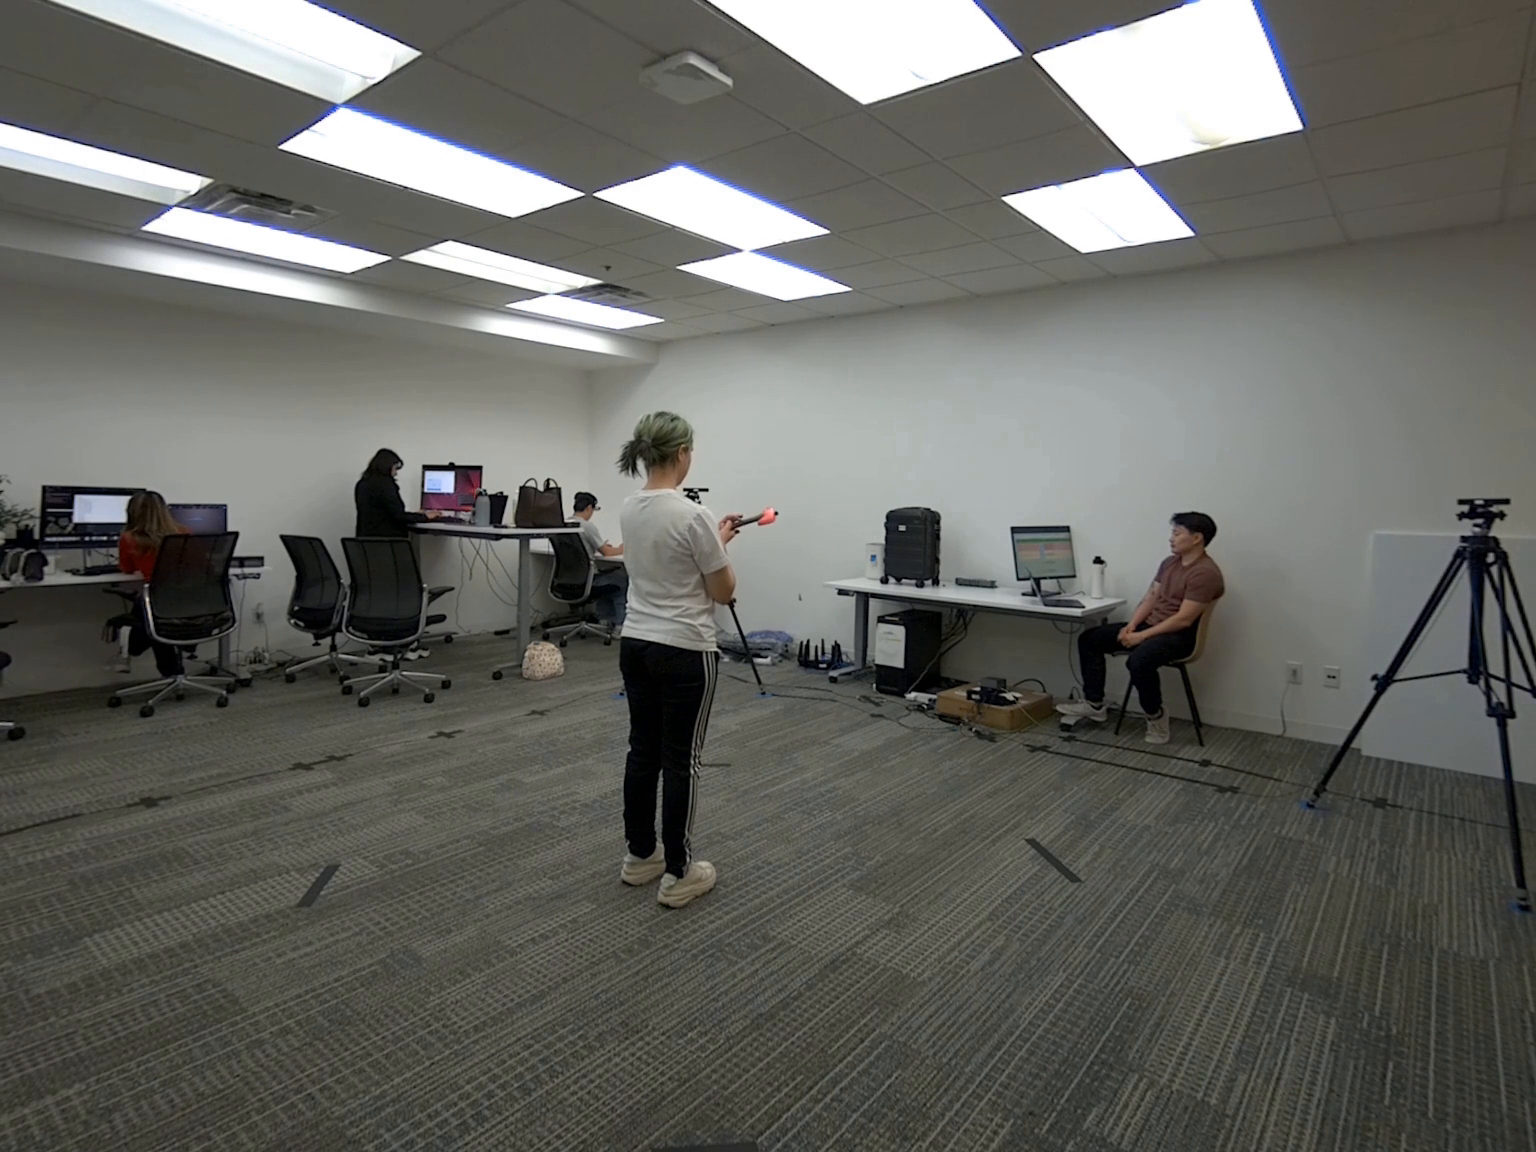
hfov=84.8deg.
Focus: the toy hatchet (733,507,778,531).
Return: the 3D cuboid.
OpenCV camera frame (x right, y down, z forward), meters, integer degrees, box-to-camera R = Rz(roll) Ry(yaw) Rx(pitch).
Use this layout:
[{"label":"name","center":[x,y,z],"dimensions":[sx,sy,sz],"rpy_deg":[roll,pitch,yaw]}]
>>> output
[{"label":"toy hatchet","center":[-0.096,-0.173,3.056],"dimensions":[0.268,0.028,0.136],"rpy_deg":[-29,30,-11]}]
